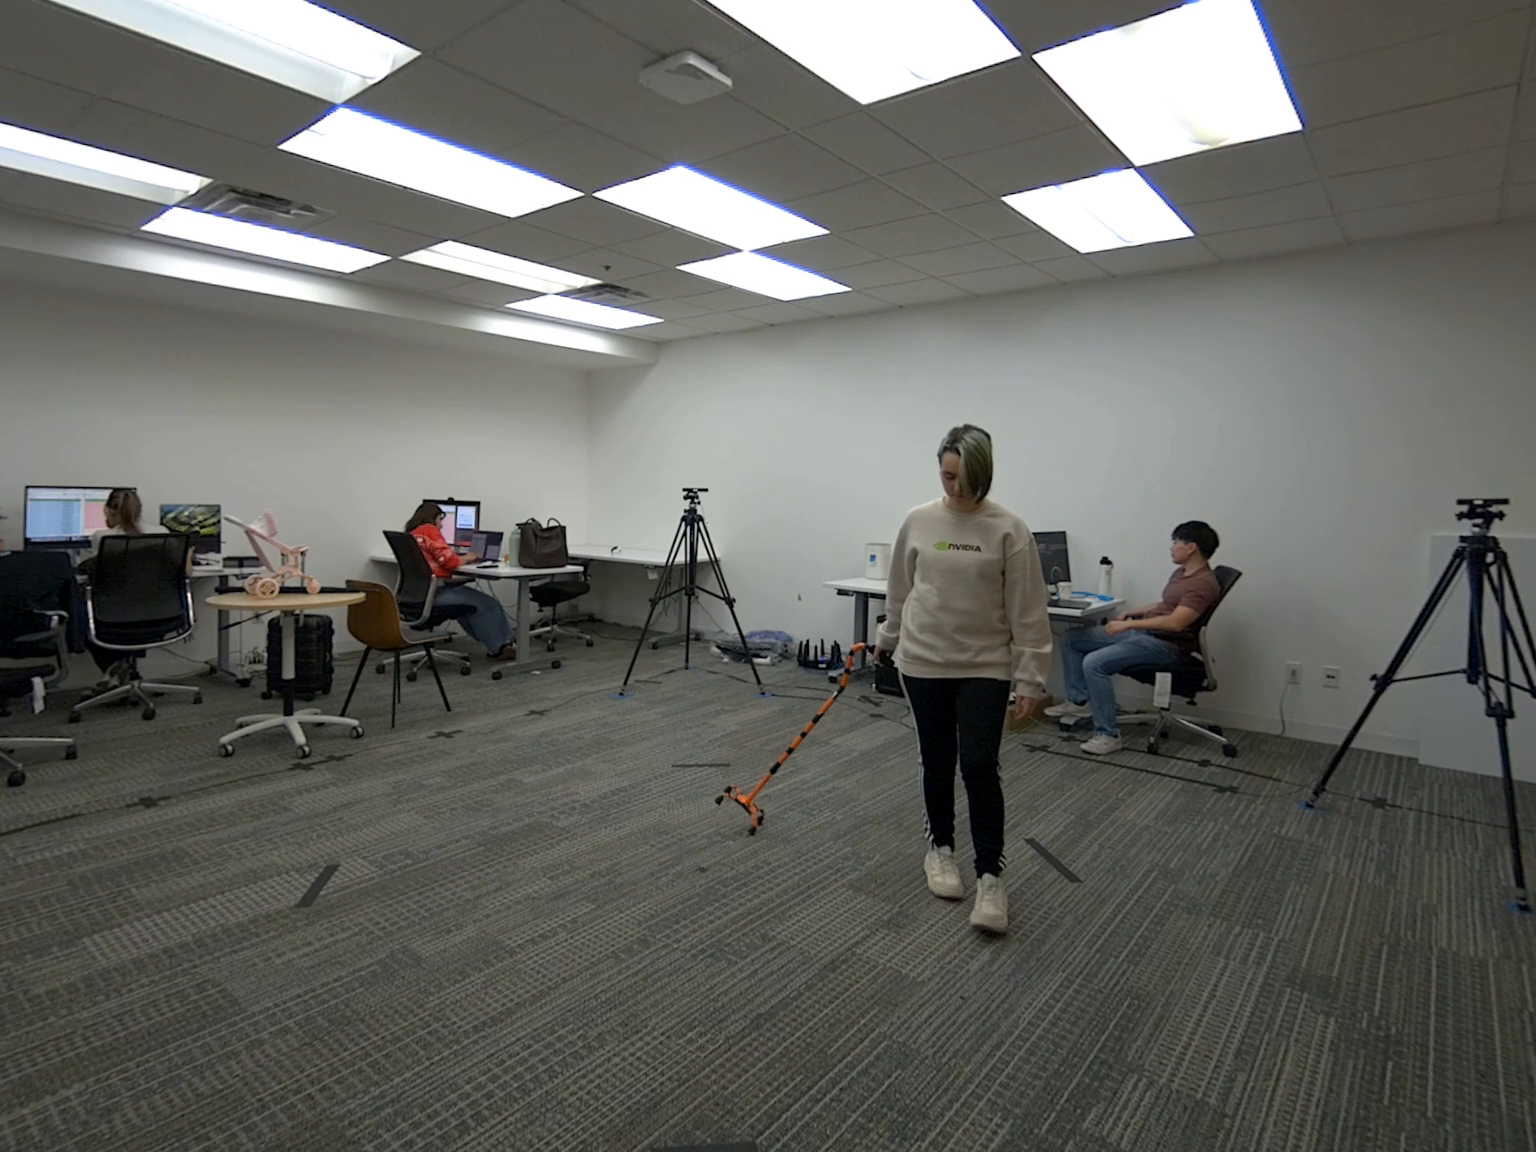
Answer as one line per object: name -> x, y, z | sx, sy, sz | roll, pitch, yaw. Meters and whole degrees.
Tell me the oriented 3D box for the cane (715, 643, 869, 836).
cane -> 0.132, 0.625, 3.410 | 0.210, 0.906, 0.149 | 40, 12, 12
